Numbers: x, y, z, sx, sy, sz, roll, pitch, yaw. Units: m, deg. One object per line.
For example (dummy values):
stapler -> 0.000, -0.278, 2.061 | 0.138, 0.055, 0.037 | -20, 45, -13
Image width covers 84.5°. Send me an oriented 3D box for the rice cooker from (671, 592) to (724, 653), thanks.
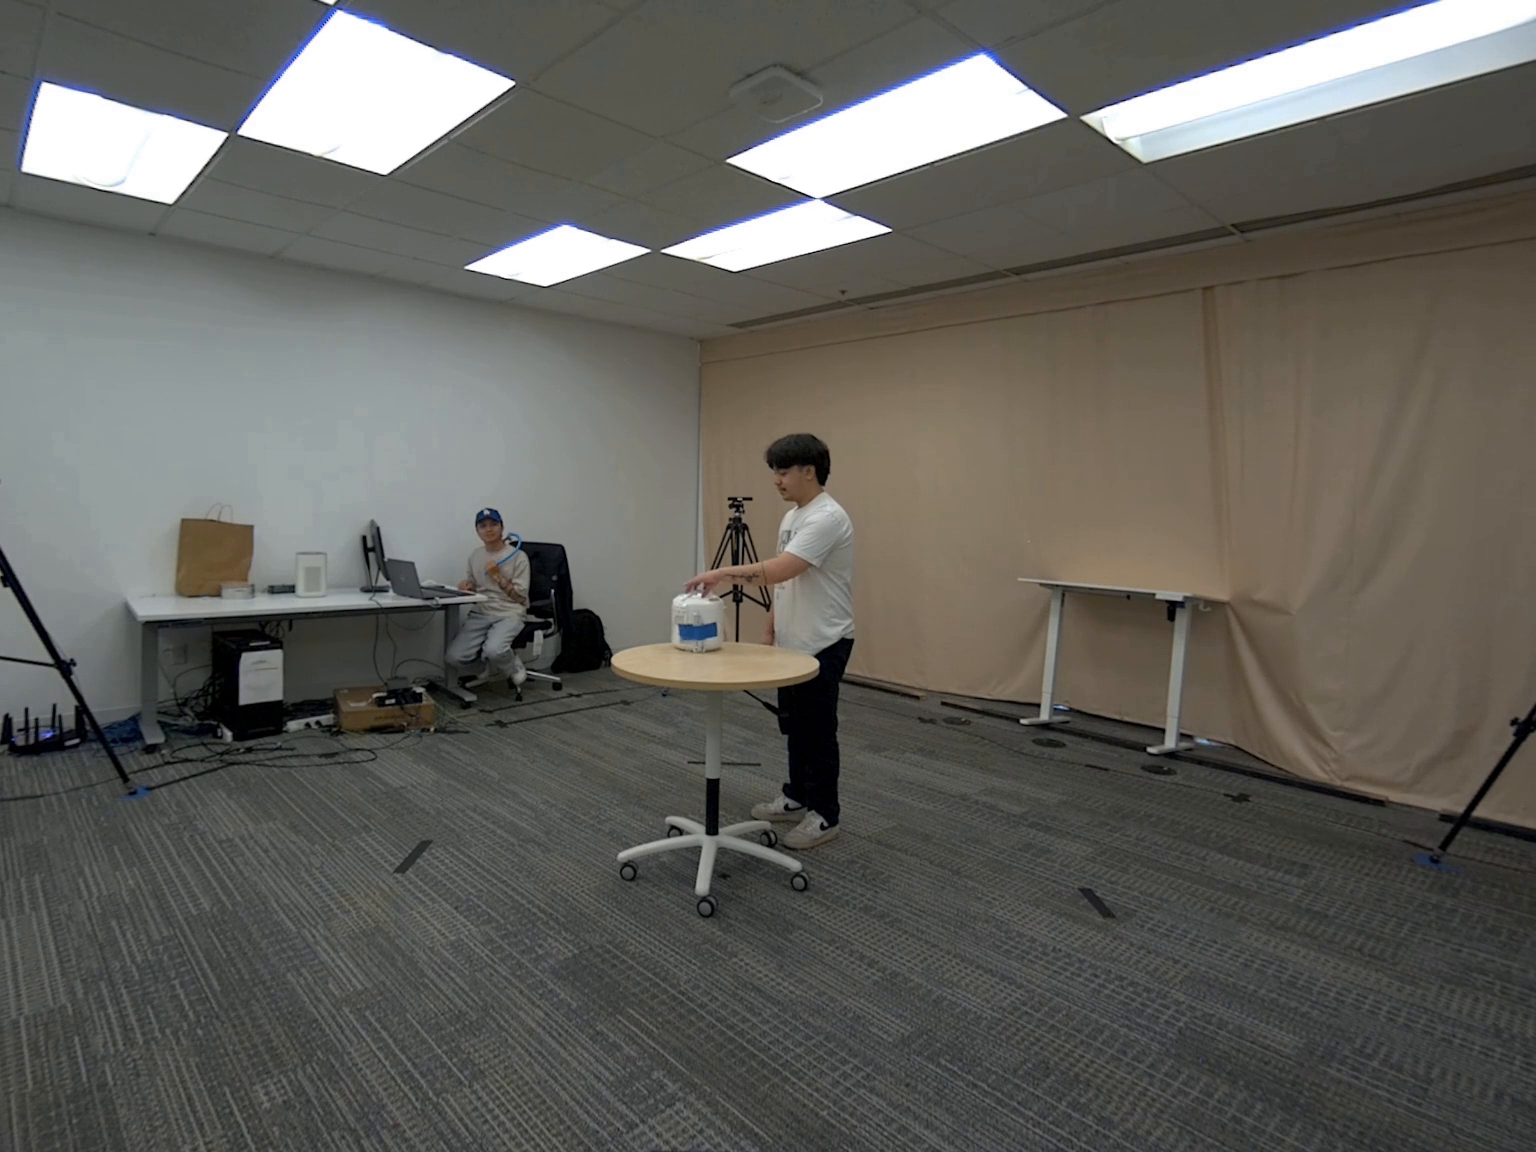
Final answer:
rice cooker -> -0.283, 0.171, 3.324 | 0.223, 0.232, 0.216 | 5, 6, 40
